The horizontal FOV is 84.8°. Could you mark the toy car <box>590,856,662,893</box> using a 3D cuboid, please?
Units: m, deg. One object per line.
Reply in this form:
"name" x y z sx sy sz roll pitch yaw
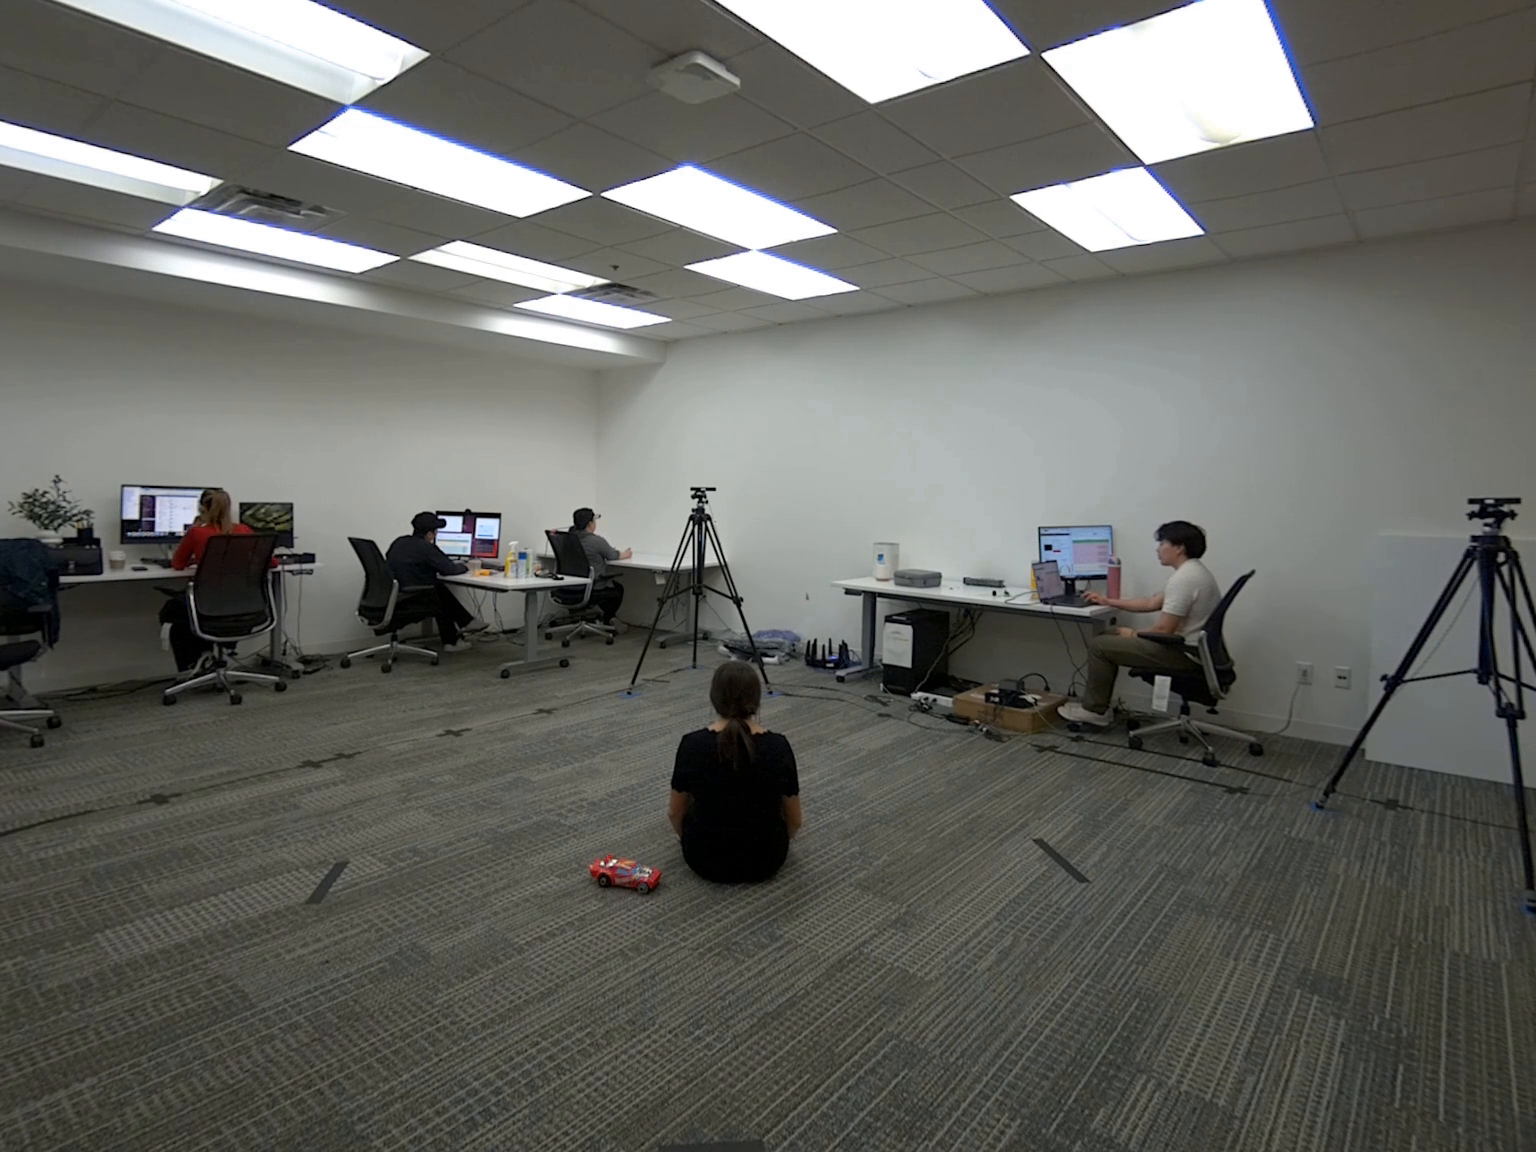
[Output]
"toy car" -0.517 1.042 2.981 0.260 0.083 0.128 13 7 16
